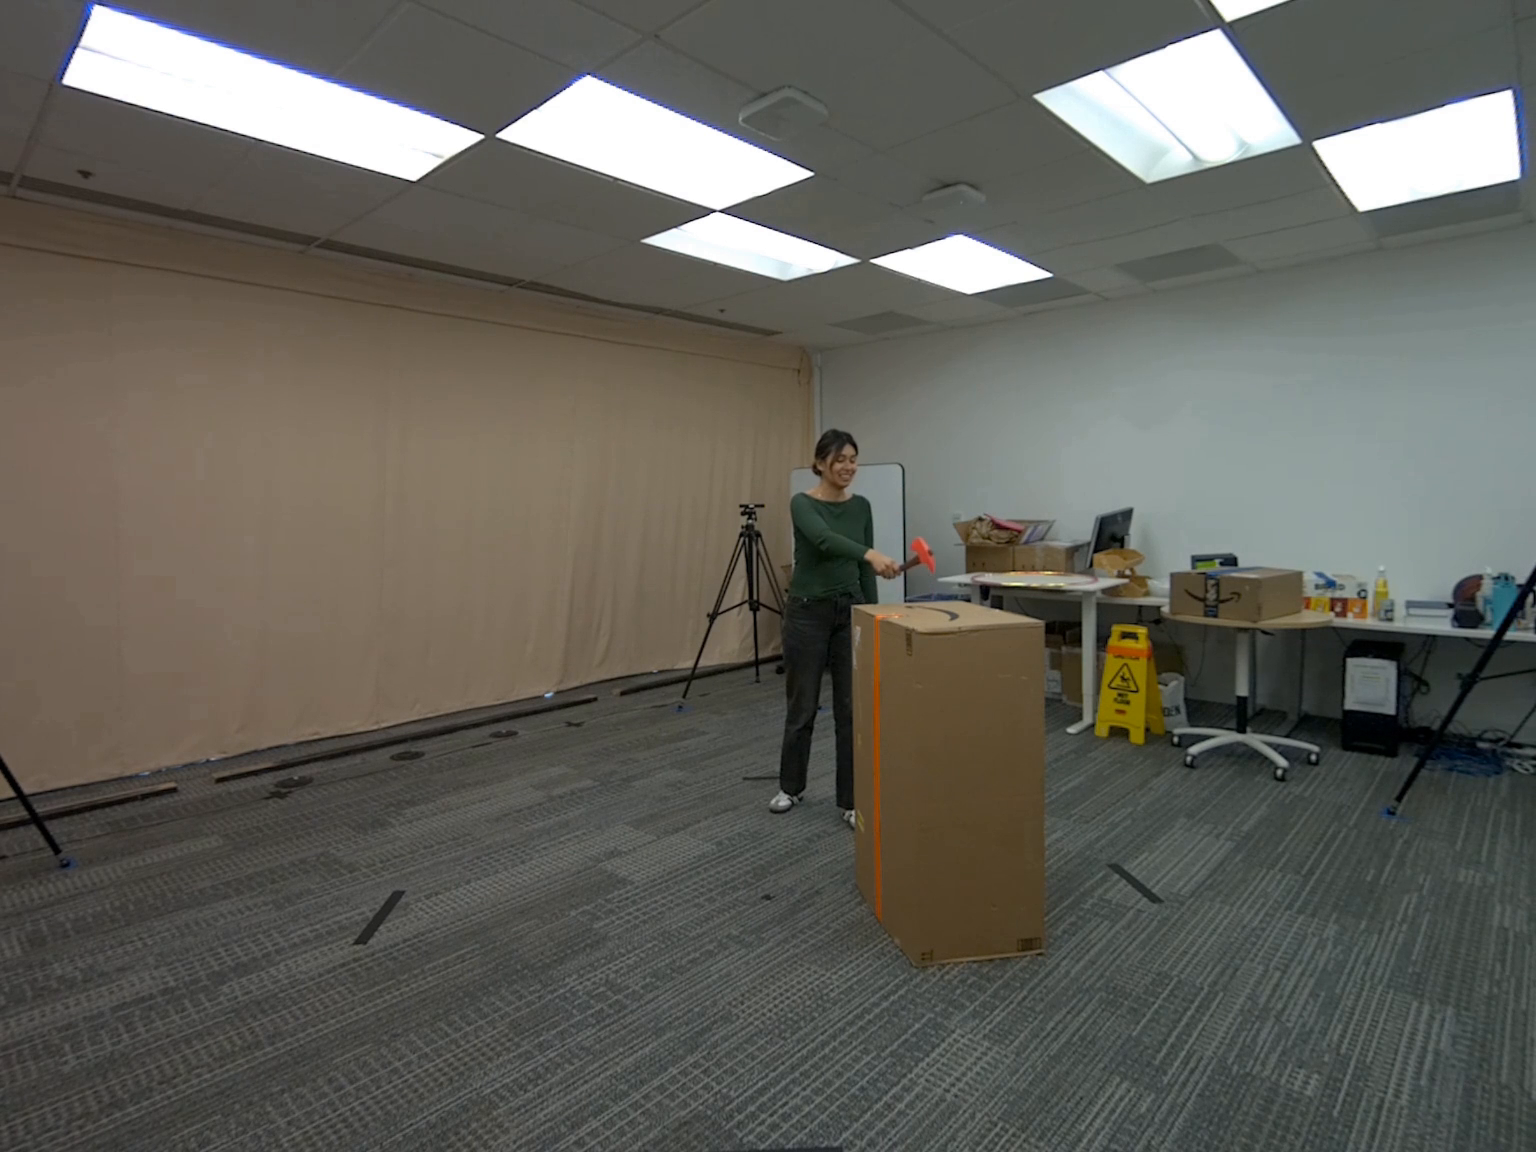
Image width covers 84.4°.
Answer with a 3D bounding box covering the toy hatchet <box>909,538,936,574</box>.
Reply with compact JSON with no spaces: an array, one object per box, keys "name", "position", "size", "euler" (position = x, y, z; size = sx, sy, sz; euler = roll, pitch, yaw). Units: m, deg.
[{"name":"toy hatchet","position":[0.482,-0.073,3.055],"size":[0.029,0.130,0.278],"euler":[-14,6,-42]}]
